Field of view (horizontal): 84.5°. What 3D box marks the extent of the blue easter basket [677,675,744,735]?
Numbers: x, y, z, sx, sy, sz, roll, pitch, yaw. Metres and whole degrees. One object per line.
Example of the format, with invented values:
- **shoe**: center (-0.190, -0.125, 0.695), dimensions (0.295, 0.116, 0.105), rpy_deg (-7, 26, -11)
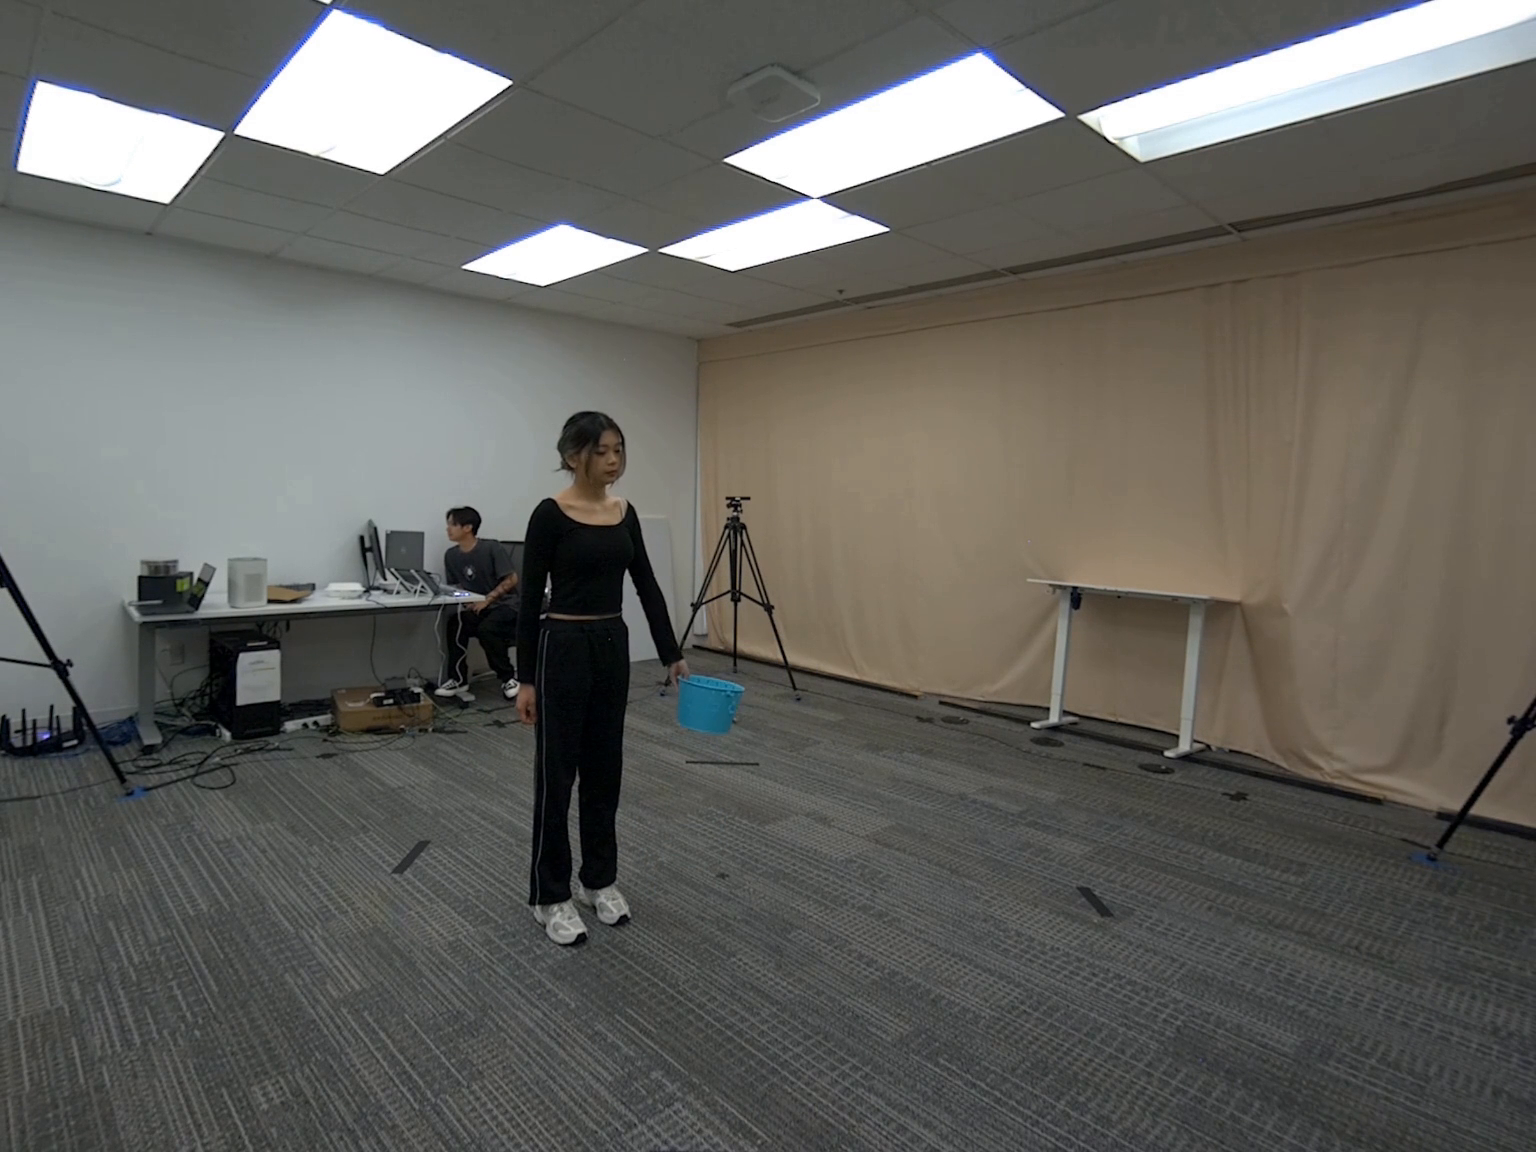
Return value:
- **blue easter basket**: center (-0.208, 0.434, 2.849), dimensions (0.243, 0.156, 0.243), rpy_deg (10, 0, -1)
